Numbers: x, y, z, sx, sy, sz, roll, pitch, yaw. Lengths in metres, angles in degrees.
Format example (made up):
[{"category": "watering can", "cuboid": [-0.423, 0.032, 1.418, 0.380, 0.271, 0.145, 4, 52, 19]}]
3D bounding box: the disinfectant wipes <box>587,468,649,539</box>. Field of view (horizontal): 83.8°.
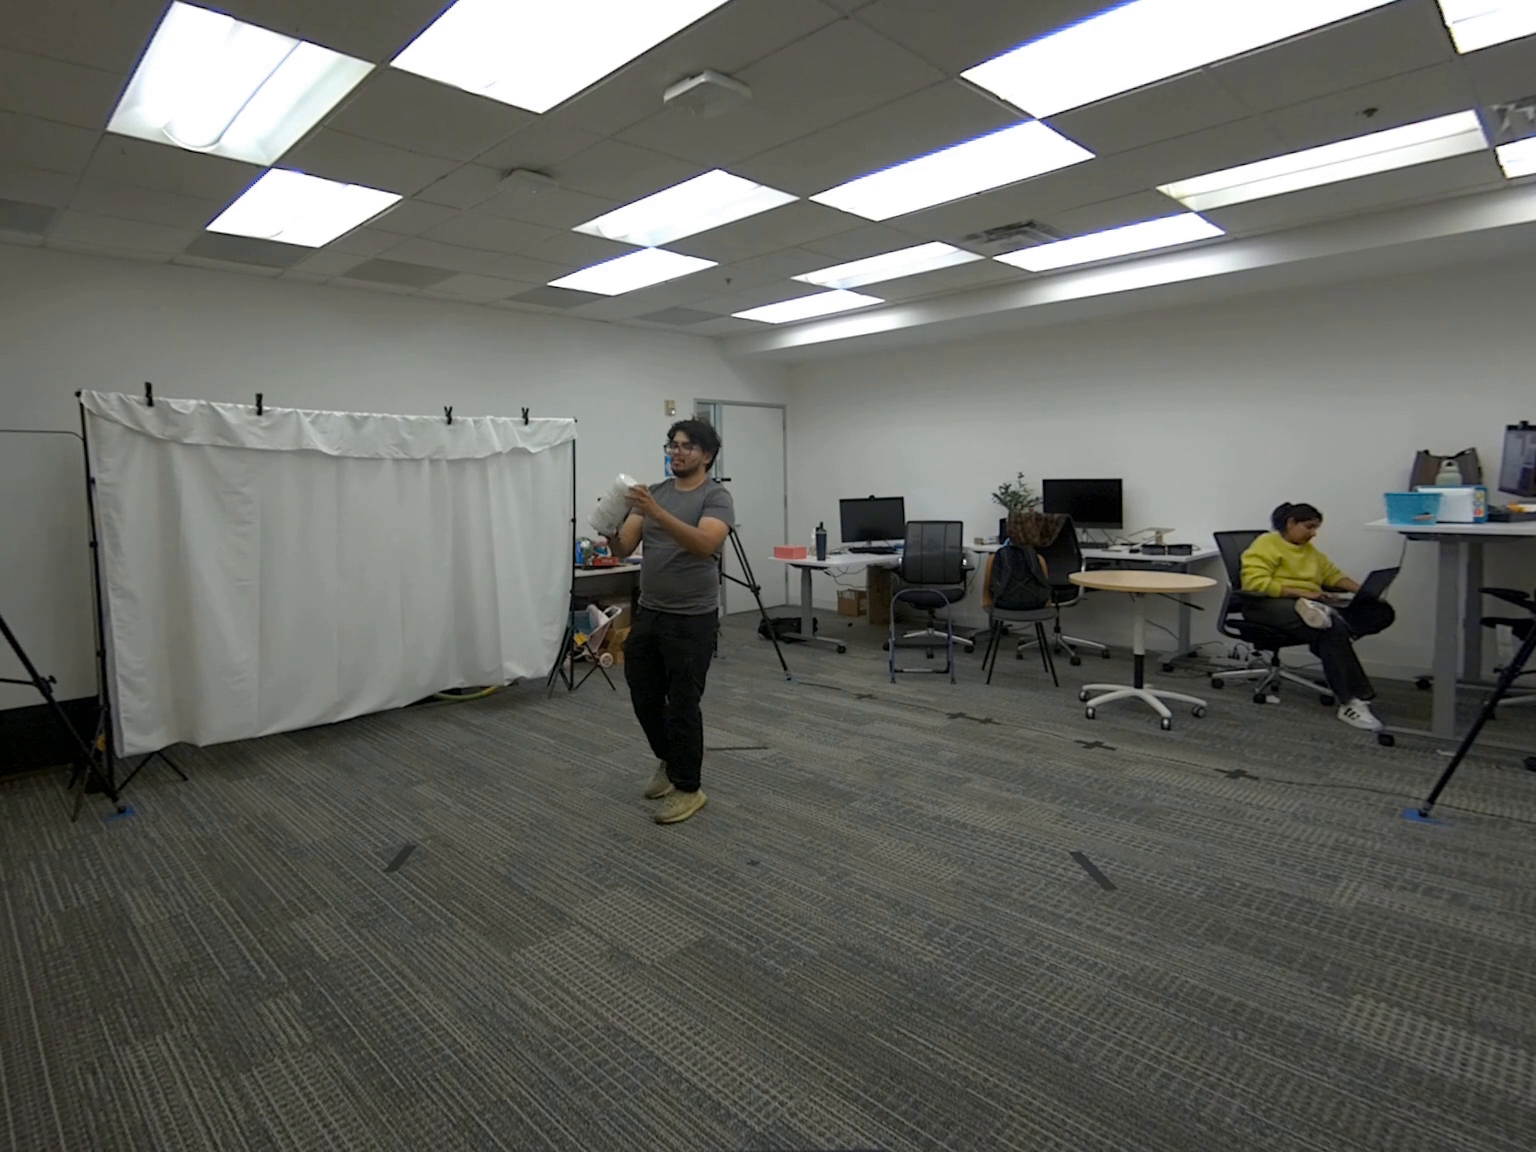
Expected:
[{"category": "disinfectant wipes", "cuboid": [-0.554, -0.268, 3.162, 0.116, 0.217, 0.119, 33, 13, -11]}]
